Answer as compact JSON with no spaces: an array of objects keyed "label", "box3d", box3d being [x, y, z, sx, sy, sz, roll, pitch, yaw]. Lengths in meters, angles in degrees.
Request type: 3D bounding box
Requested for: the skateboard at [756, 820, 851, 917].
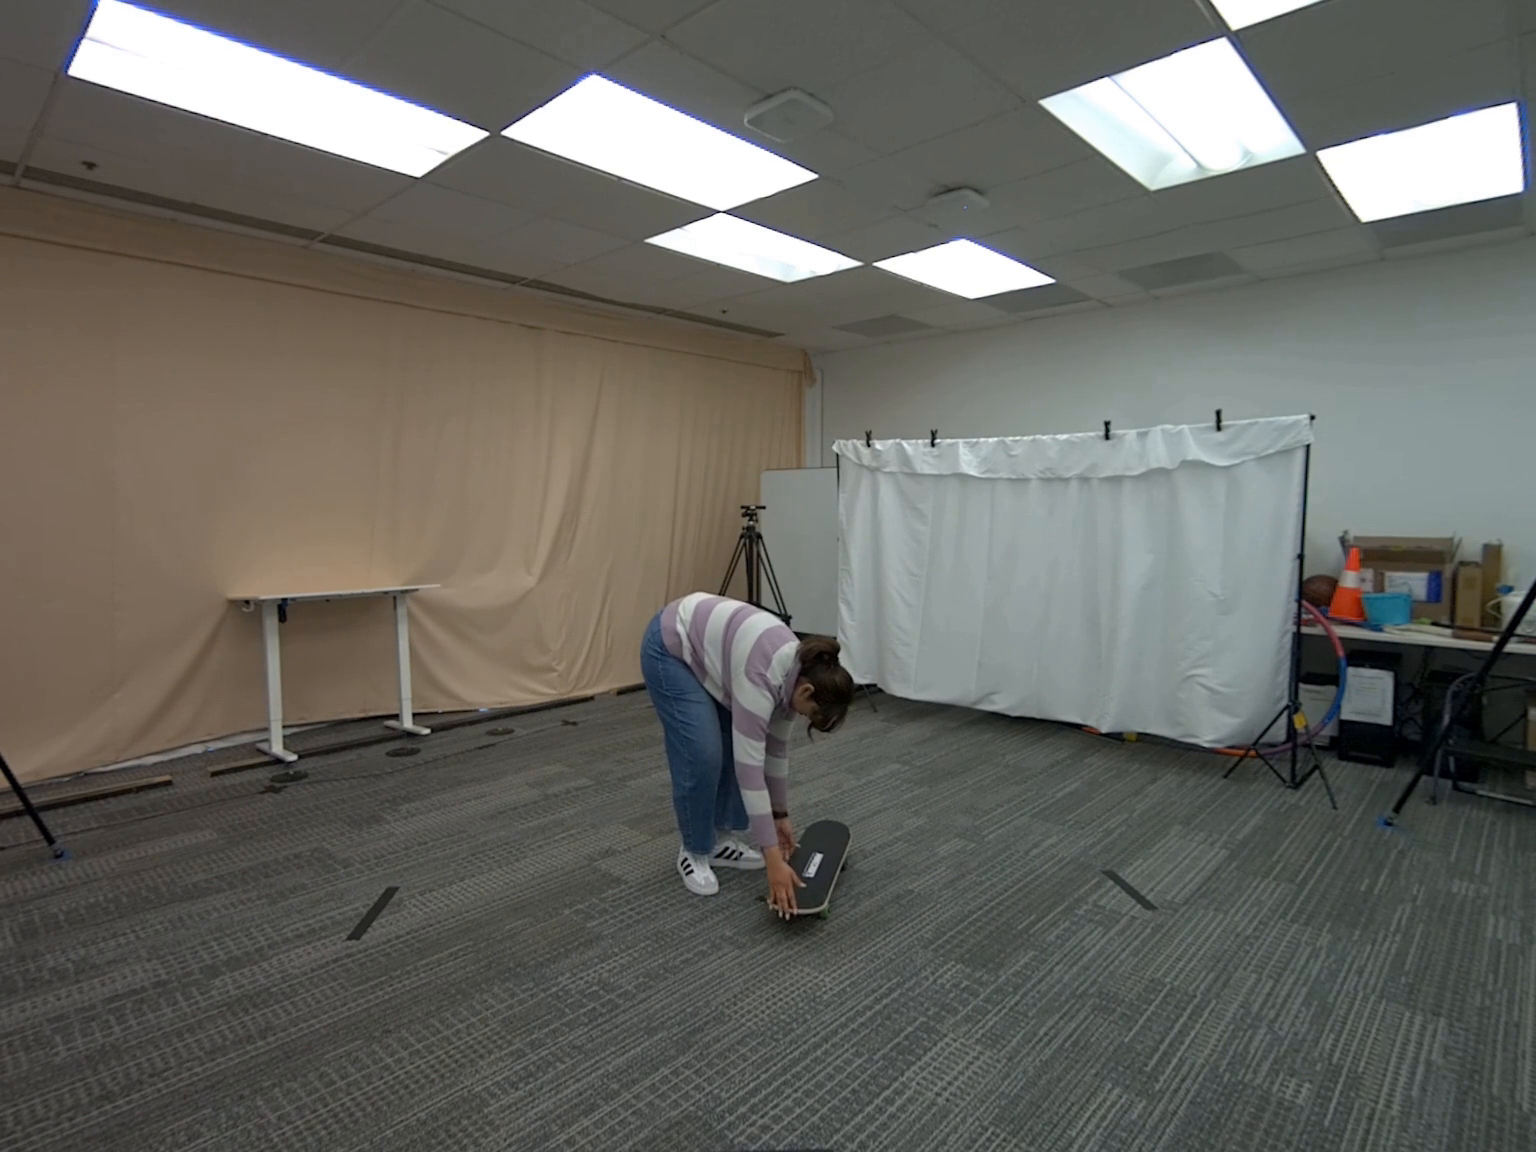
[{"label":"skateboard","box3d":[0.173,1.082,3.048,0.197,0.110,0.775,2,6,14]}]
